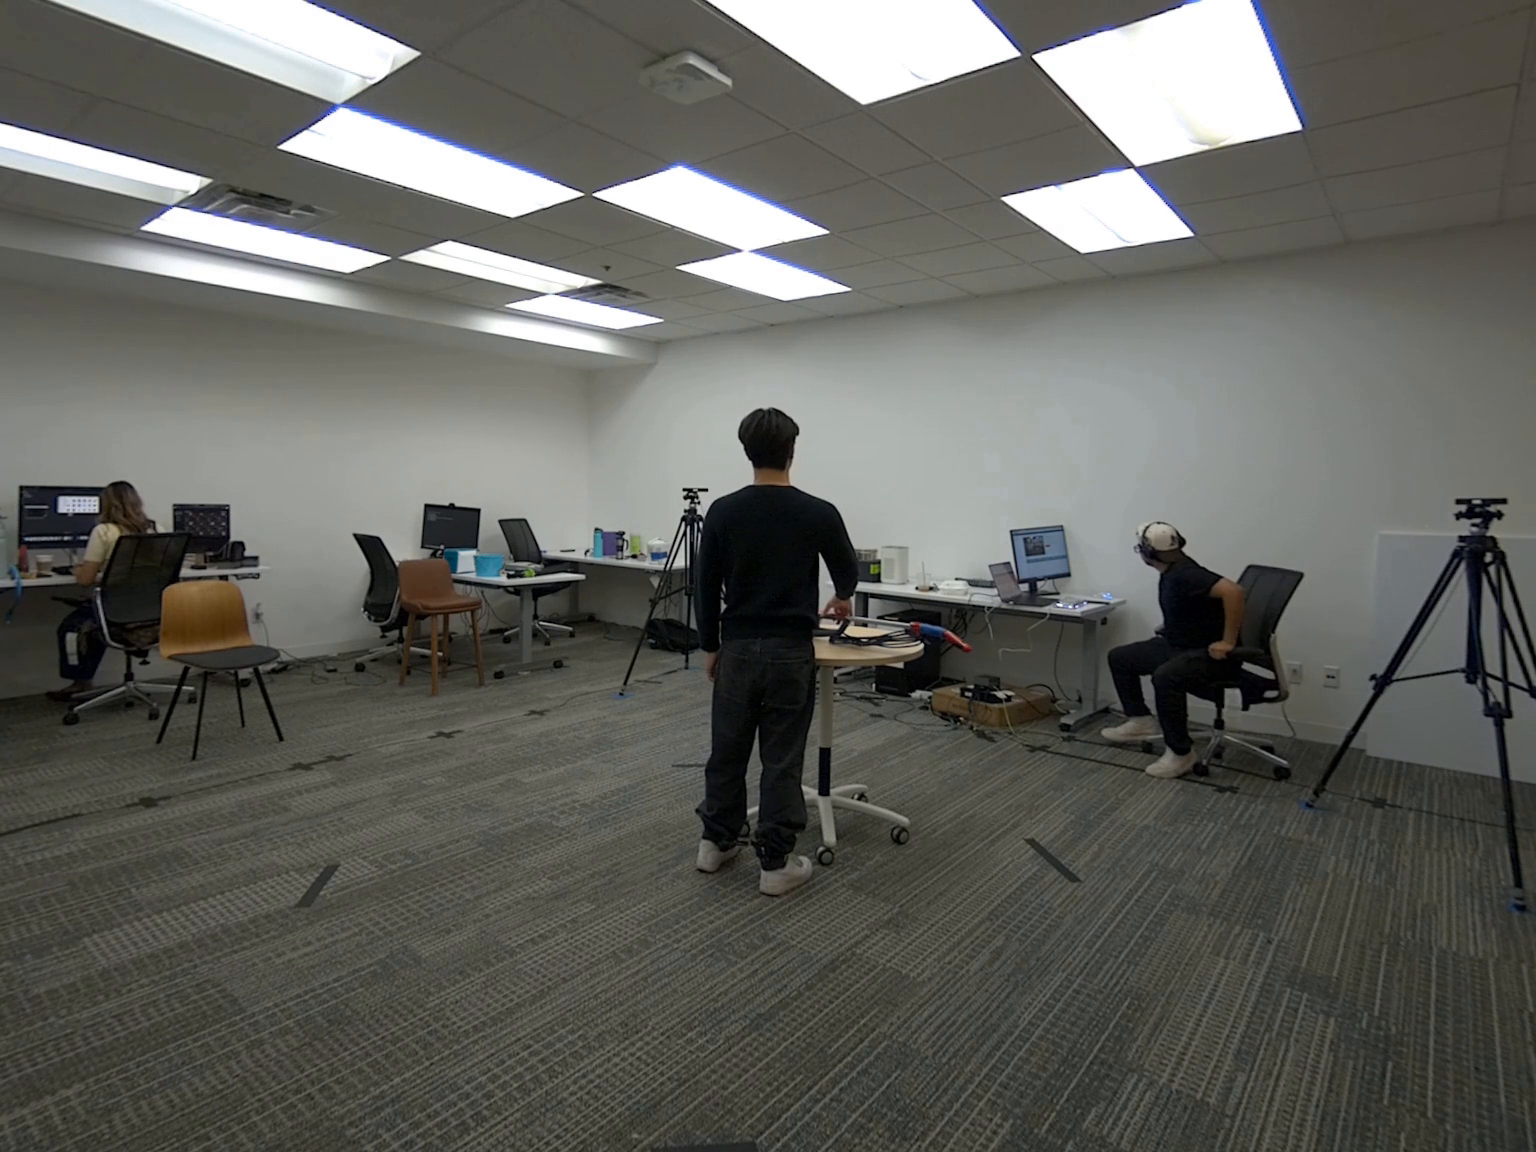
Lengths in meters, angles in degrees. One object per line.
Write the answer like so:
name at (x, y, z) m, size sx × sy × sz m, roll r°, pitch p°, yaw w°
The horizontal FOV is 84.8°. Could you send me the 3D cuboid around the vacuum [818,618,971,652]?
vacuum at (0.305, 0.215, 3.380) m, size 1.086 × 0.143 × 0.246 m, roll 7°, pitch 11°, yaw 42°
